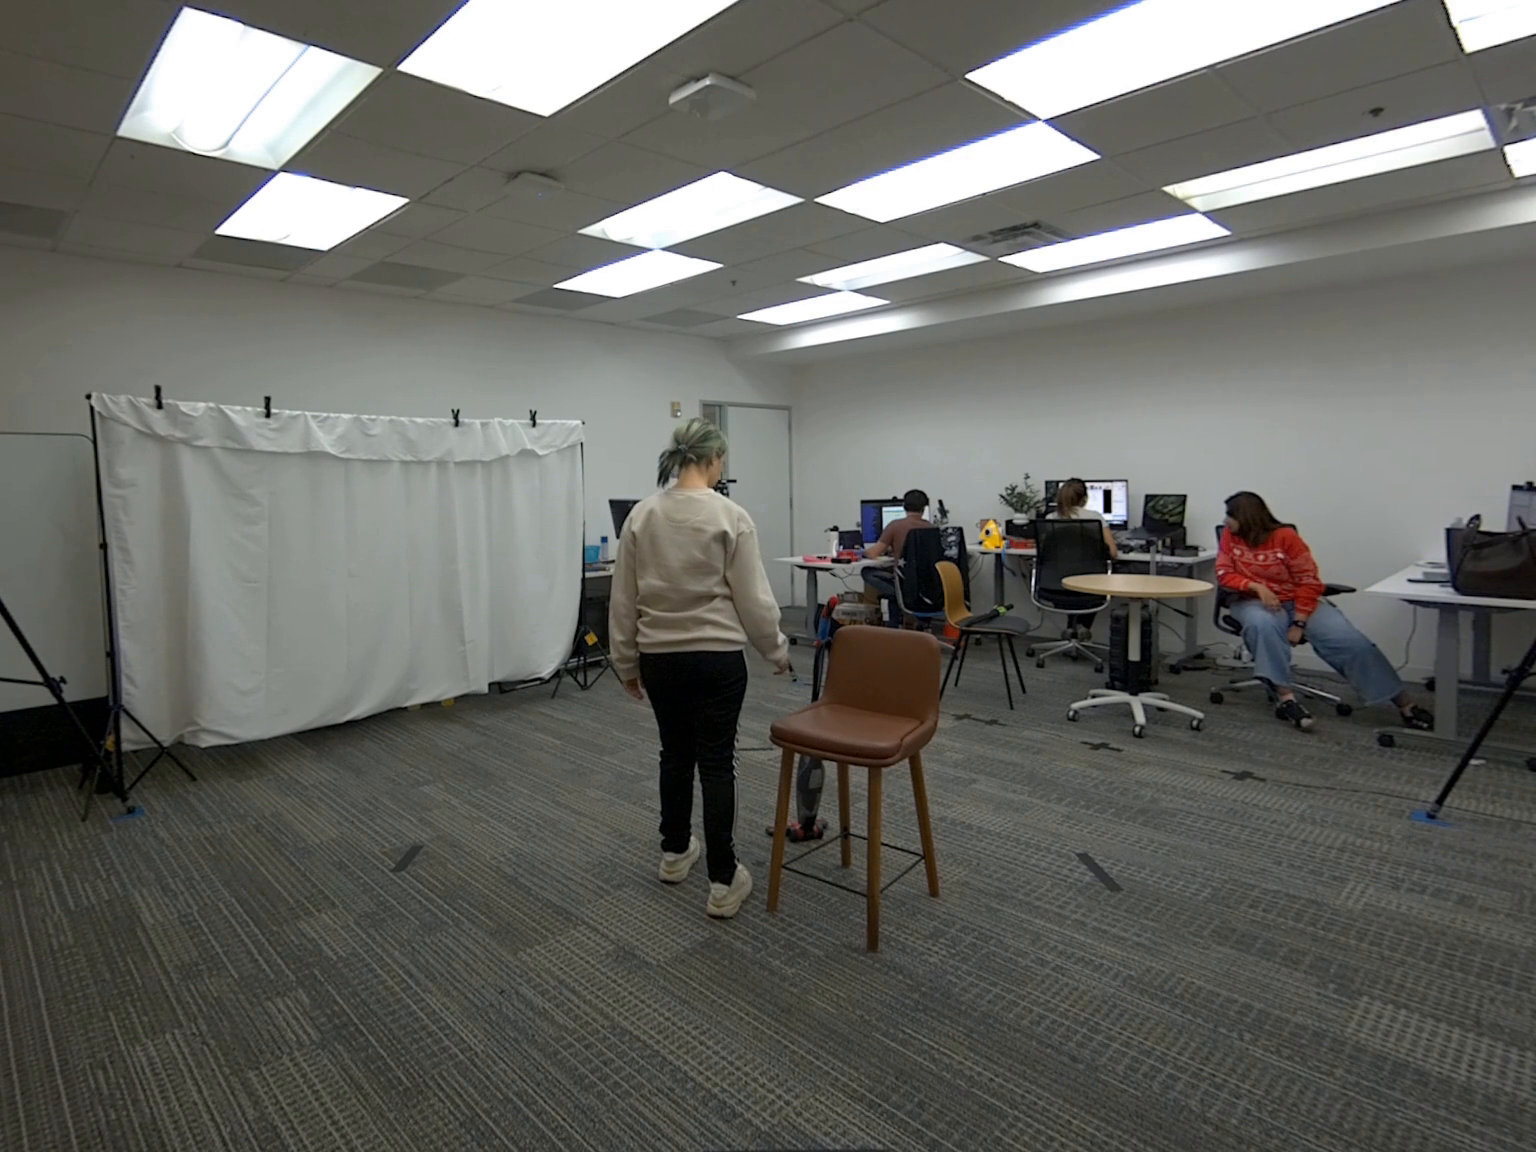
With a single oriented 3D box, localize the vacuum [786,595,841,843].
[{"bbox_3d":[0.183,0.547,3.158,0.248,1.031,0.149,-1,25,-18],"label":"vacuum"}]
